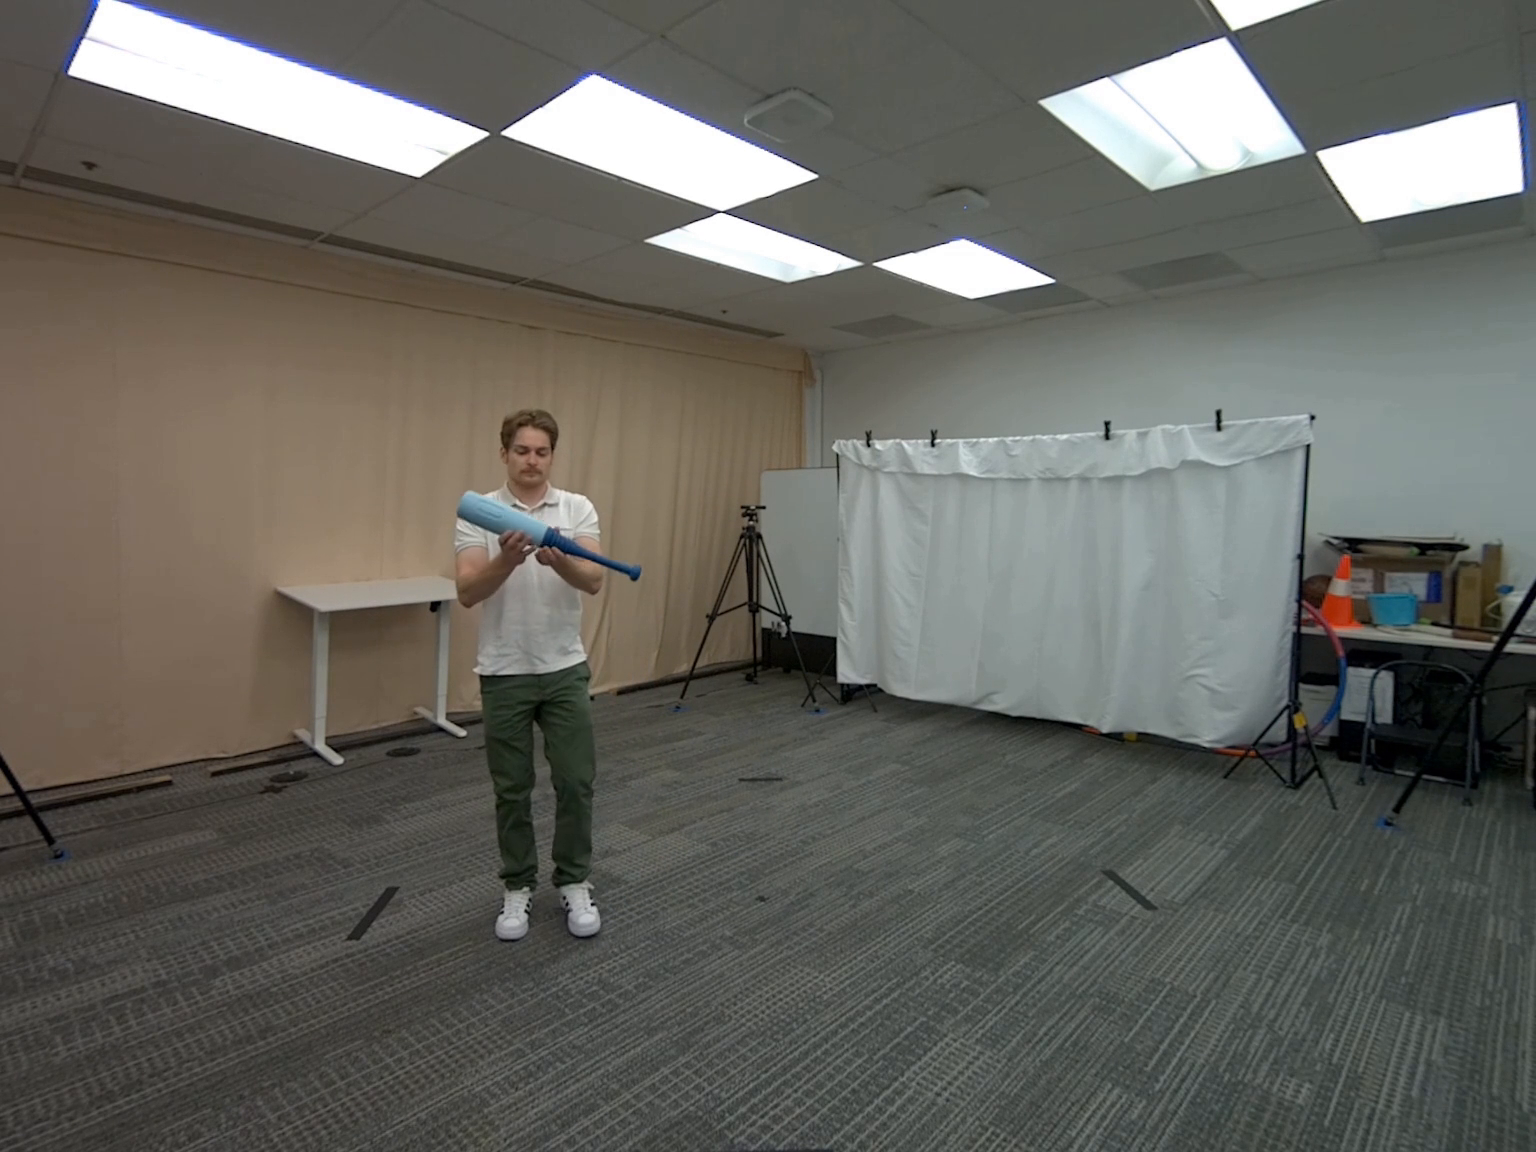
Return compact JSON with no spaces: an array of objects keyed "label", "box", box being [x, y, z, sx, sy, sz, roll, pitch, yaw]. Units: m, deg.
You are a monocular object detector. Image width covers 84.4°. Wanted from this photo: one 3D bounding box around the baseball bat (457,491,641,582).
[{"label":"baseball bat","box":[-0.608,-0.107,2.391,0.537,0.089,0.090,21,0,-8]}]
